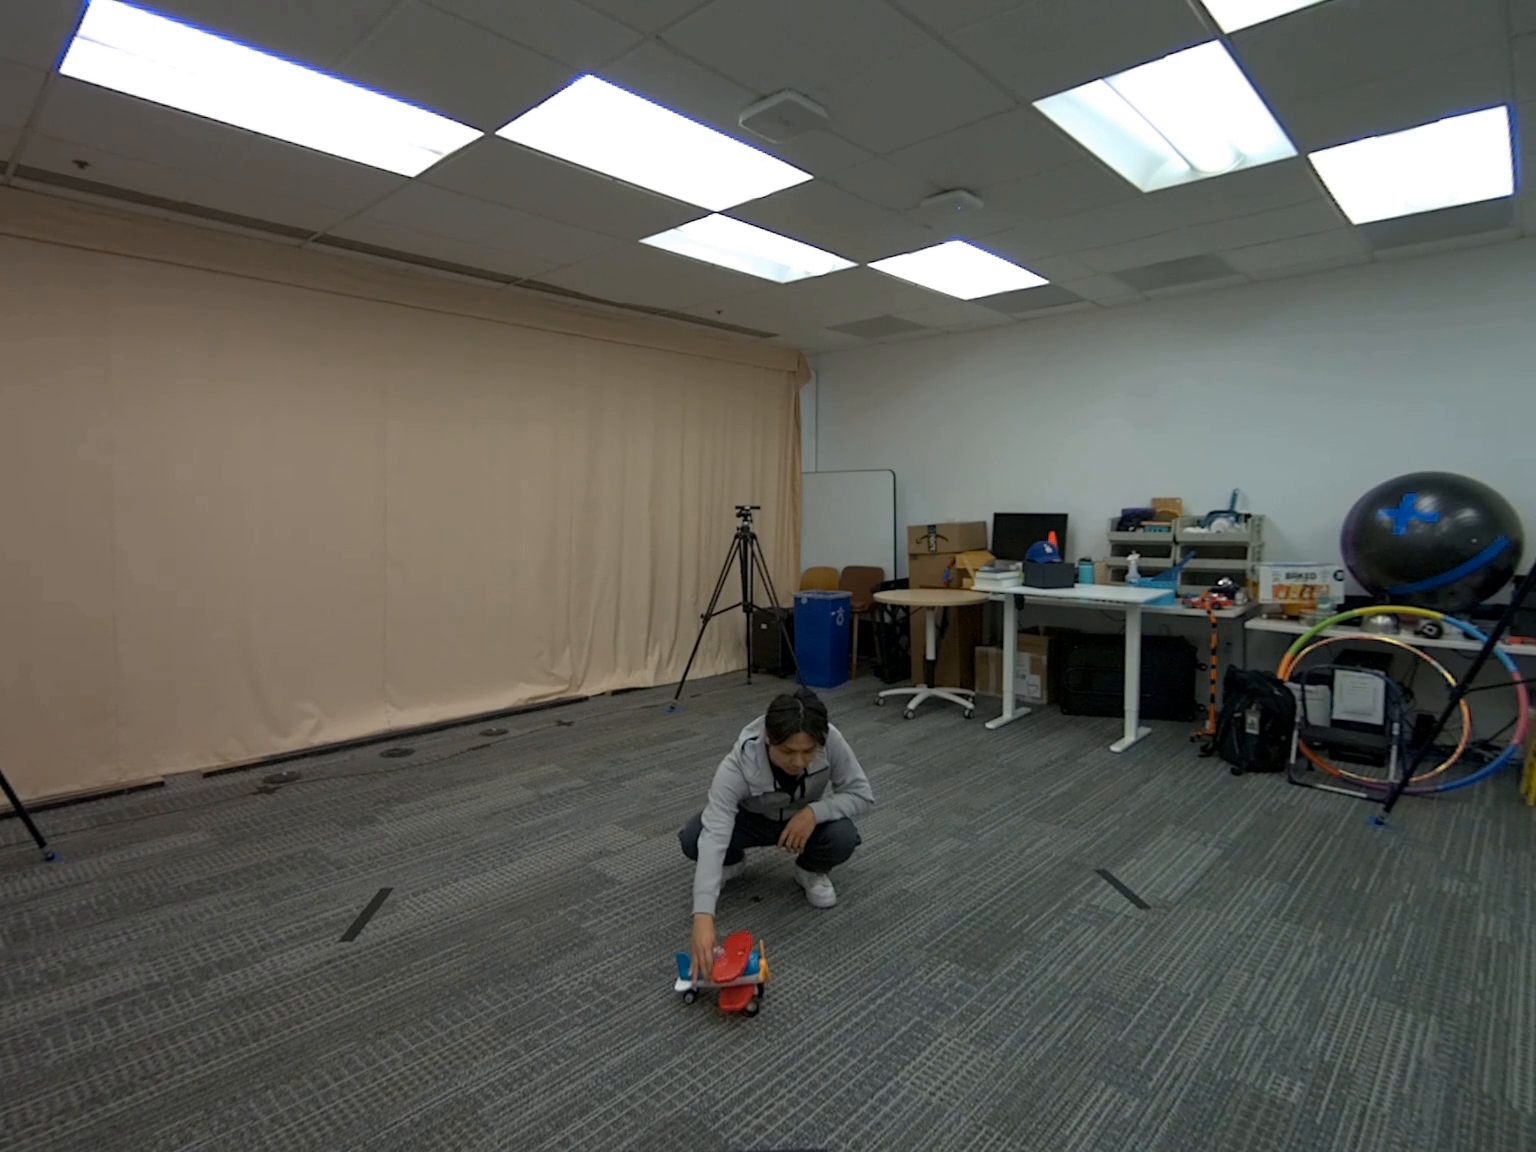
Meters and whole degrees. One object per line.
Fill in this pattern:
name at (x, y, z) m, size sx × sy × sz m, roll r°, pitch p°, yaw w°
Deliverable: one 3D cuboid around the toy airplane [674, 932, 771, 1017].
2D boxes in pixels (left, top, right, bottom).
toy airplane at (-0.129, 1.120, 2.340) m, size 0.254 × 0.156 × 0.256 m, roll -1°, pitch 4°, yaw -19°
